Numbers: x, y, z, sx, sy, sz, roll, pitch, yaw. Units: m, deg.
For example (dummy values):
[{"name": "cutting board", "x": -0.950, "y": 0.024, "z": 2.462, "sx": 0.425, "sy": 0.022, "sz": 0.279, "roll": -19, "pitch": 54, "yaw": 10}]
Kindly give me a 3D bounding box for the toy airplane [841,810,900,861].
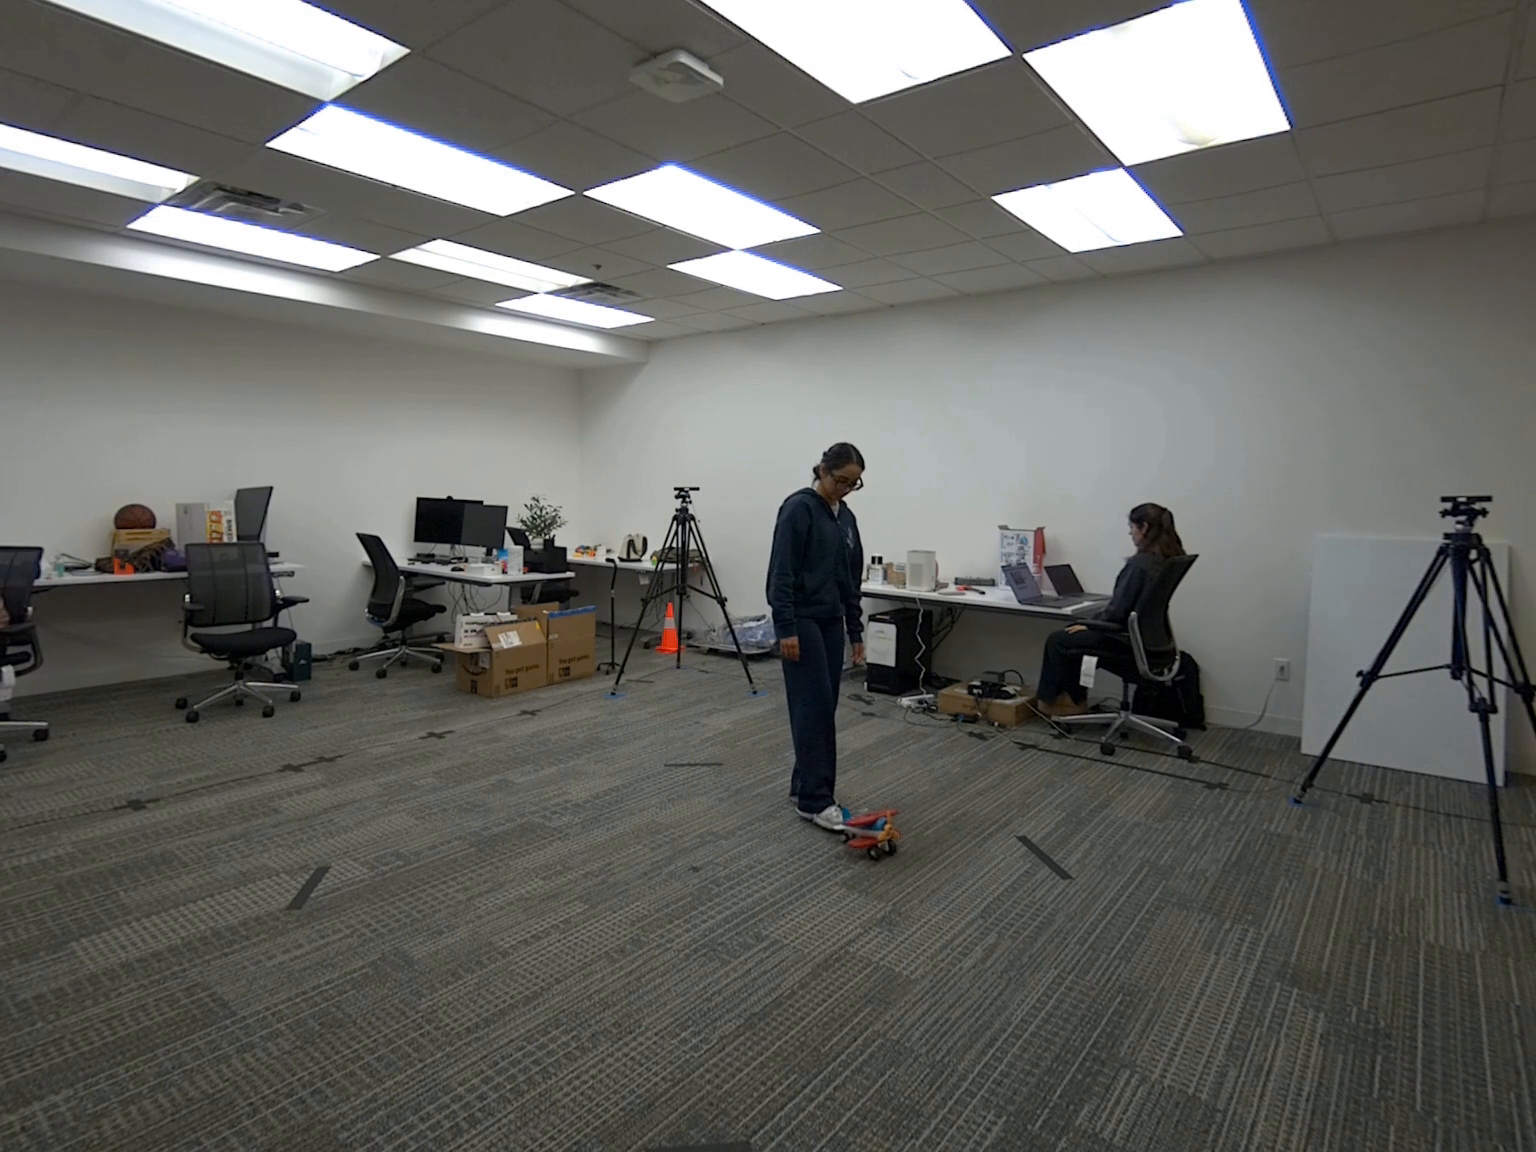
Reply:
[{"name": "toy airplane", "x": 0.363, "y": 0.983, "z": 3.294, "sx": 0.266, "sy": 0.156, "sz": 0.246, "roll": 4, "pitch": 6, "yaw": 24}]
